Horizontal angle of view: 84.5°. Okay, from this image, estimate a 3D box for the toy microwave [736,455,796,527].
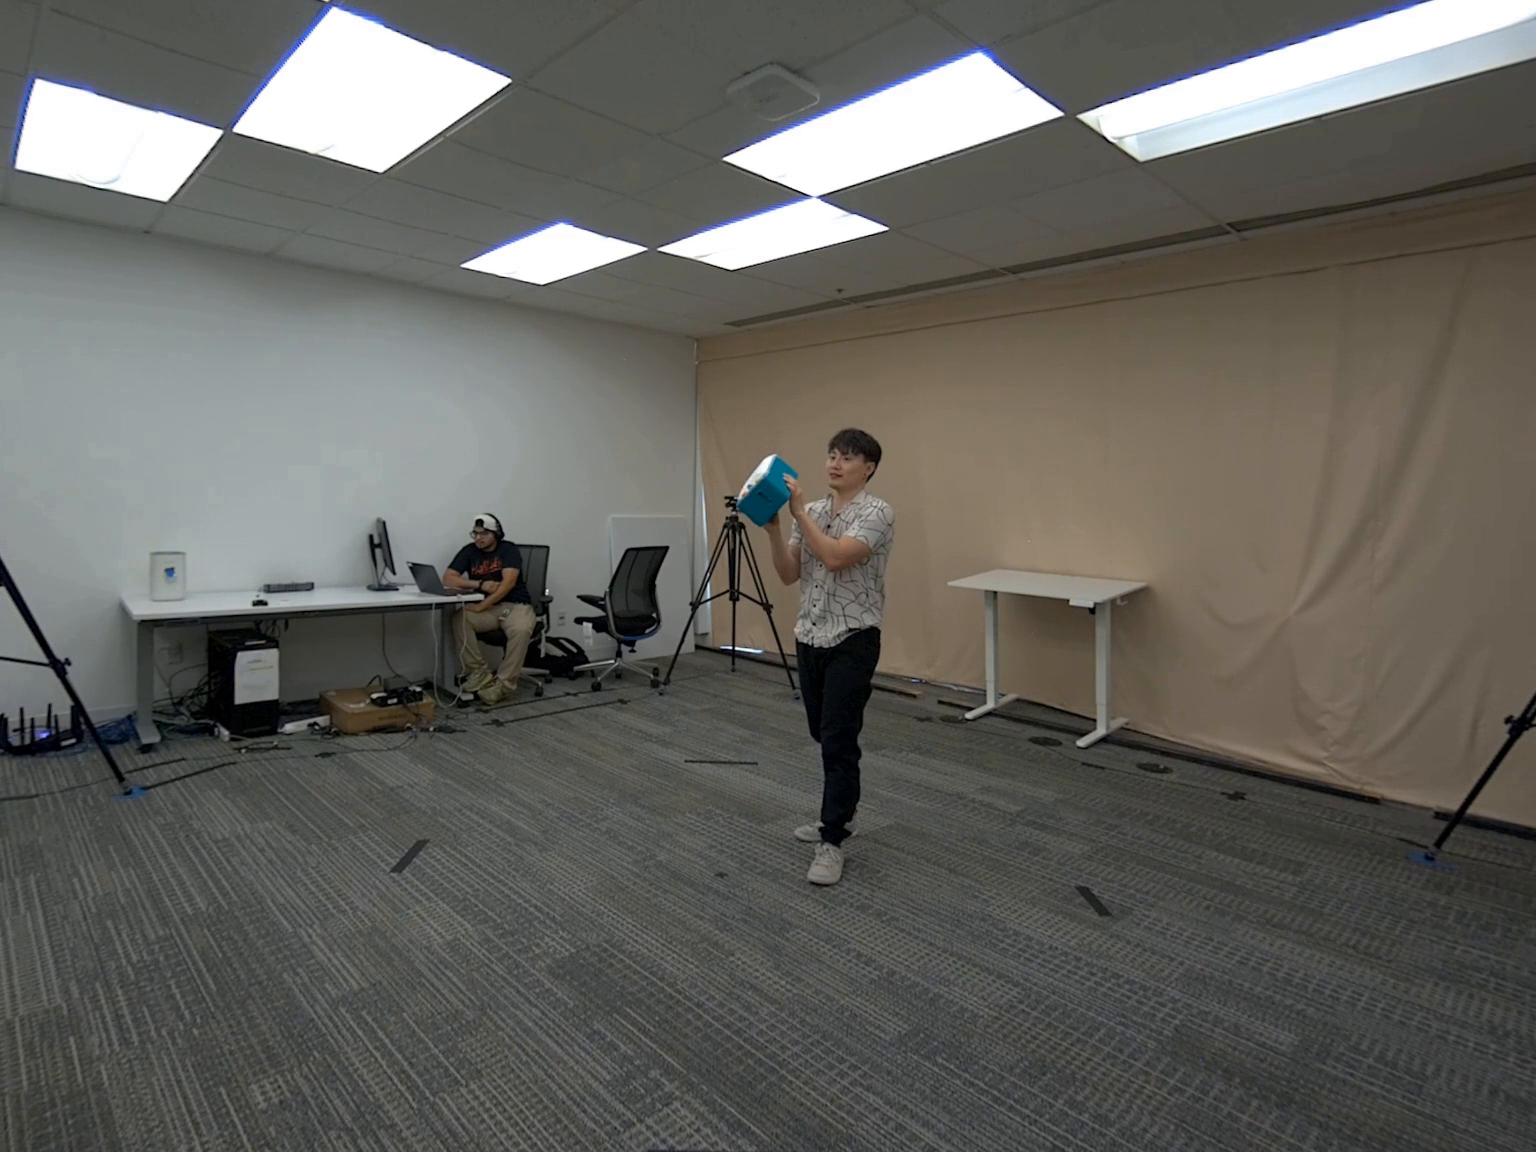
[{"bbox_3d":[-0.012,-0.335,3.245,0.151,0.184,0.288,41,26,-9],"label":"toy microwave"}]
